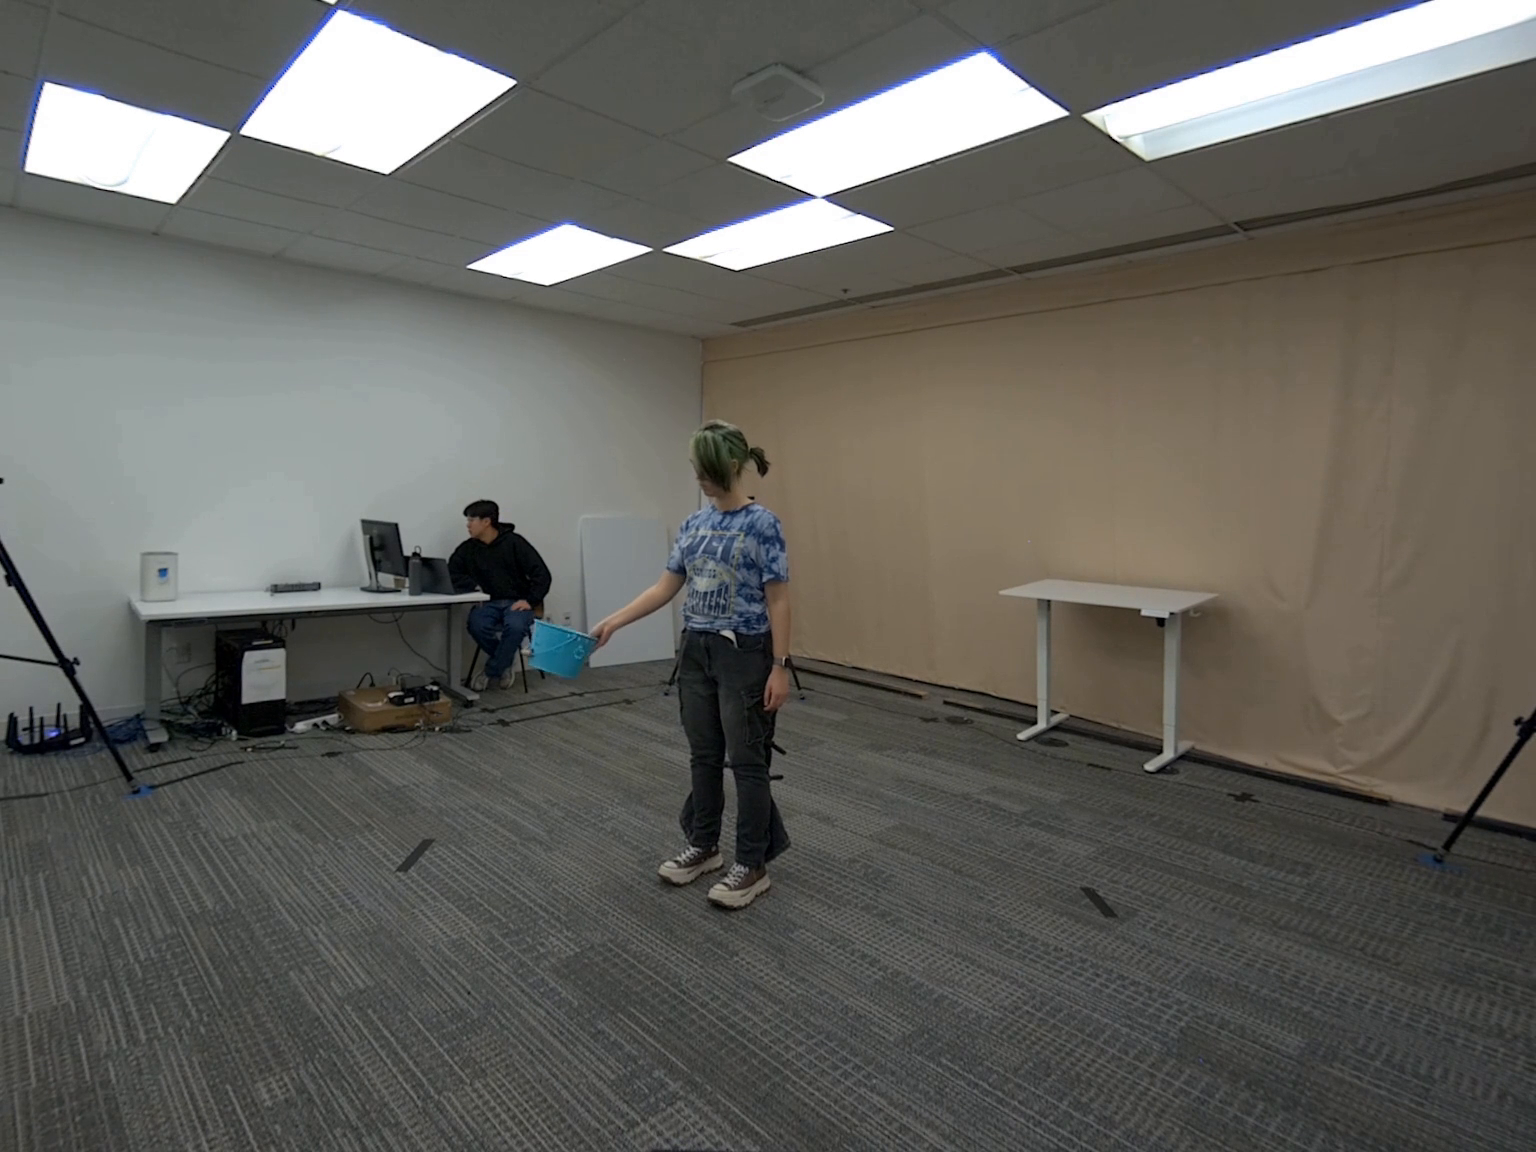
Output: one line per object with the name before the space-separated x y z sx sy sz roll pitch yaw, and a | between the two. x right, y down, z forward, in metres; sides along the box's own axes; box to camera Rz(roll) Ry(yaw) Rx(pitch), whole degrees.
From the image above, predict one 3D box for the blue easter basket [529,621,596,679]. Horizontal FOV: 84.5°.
blue easter basket | -0.726 0.262 2.946 0.244 0.156 0.242 19 -8 2
